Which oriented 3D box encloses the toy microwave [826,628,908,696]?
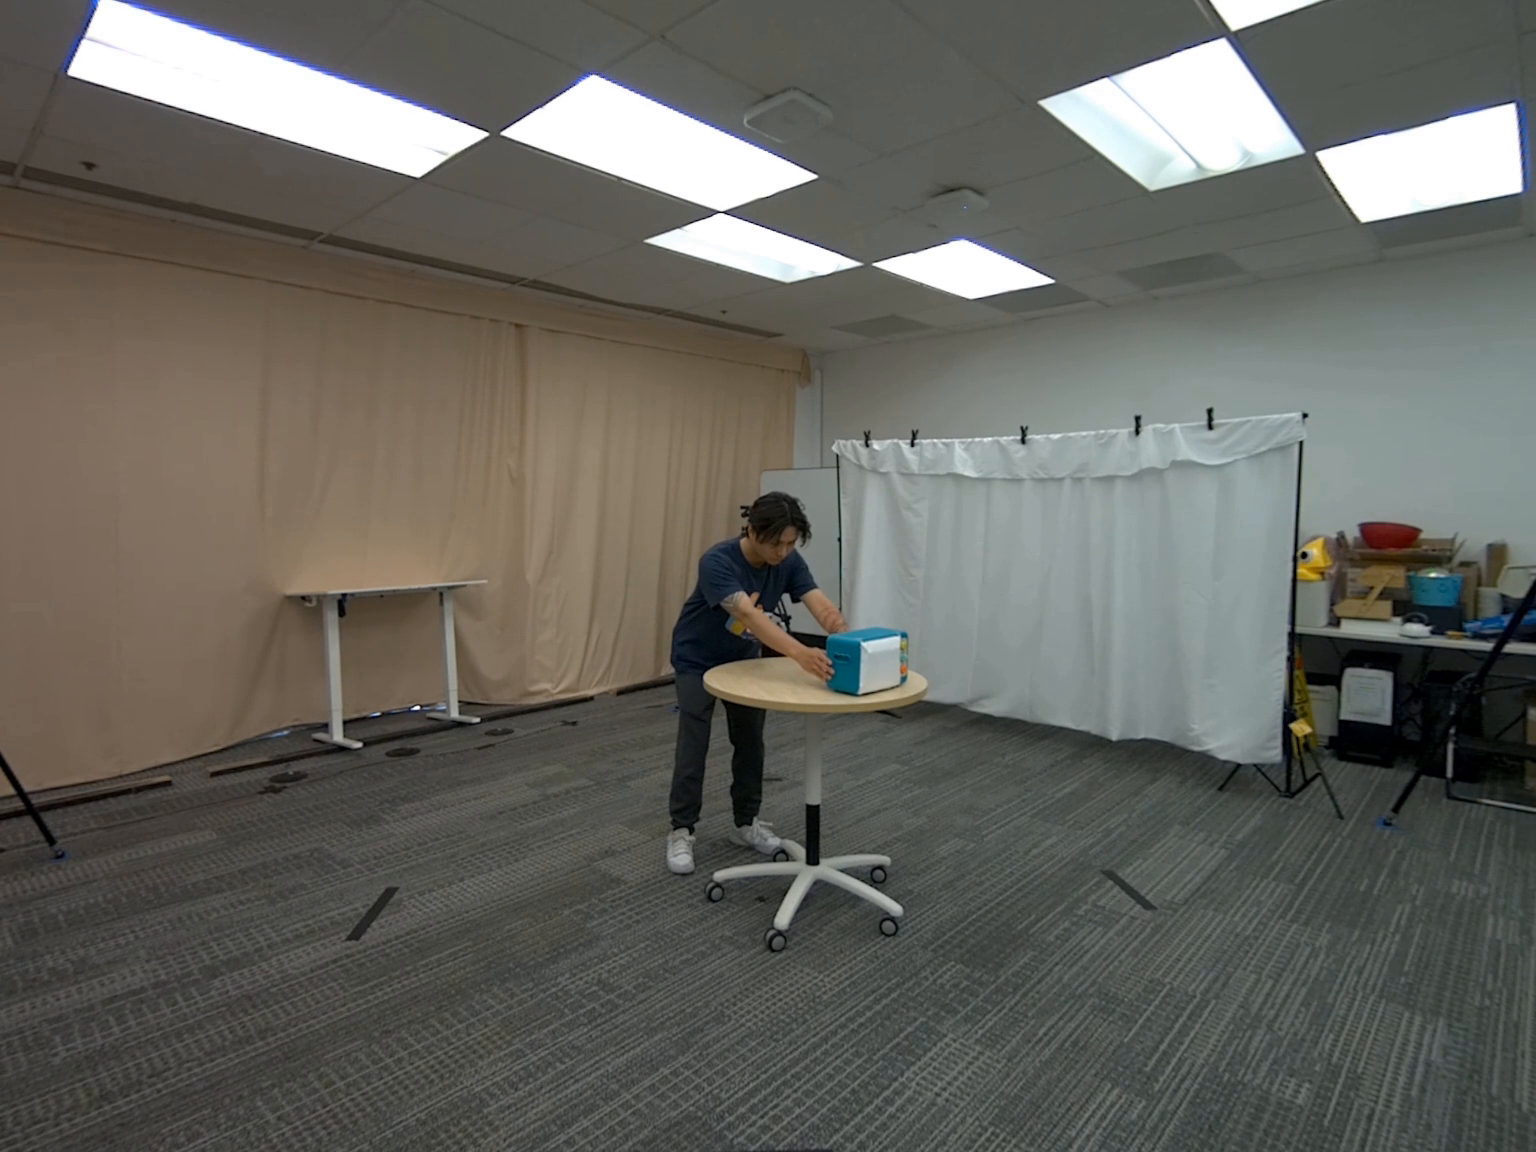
[{"bbox_3d":[0.339,0.277,2.737,0.277,0.184,0.157,-4,6,-44],"label":"toy microwave"}]
